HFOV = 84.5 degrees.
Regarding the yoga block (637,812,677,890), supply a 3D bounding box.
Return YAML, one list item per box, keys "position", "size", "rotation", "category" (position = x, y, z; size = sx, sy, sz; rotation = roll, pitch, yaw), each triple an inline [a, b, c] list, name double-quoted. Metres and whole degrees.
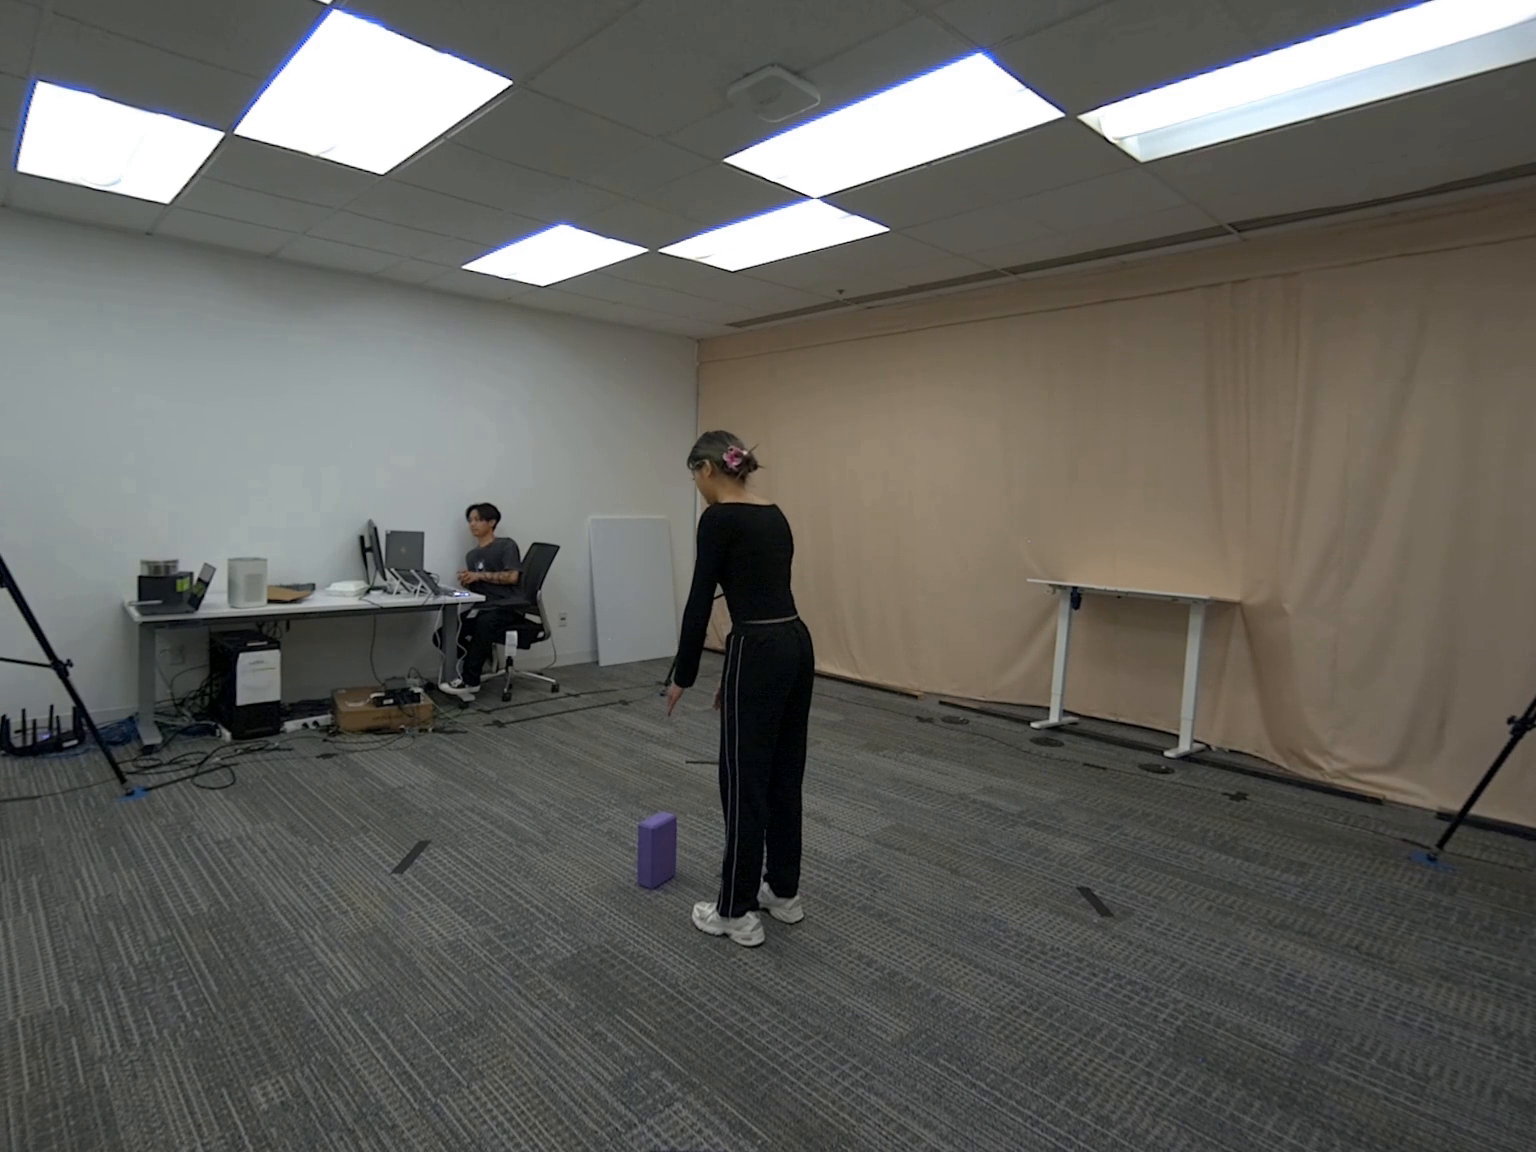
- position: [-0.410, 0.991, 3.043]
  size: [0.078, 0.229, 0.146]
  rotation: [3, 5, 30]
  category: "yoga block"
